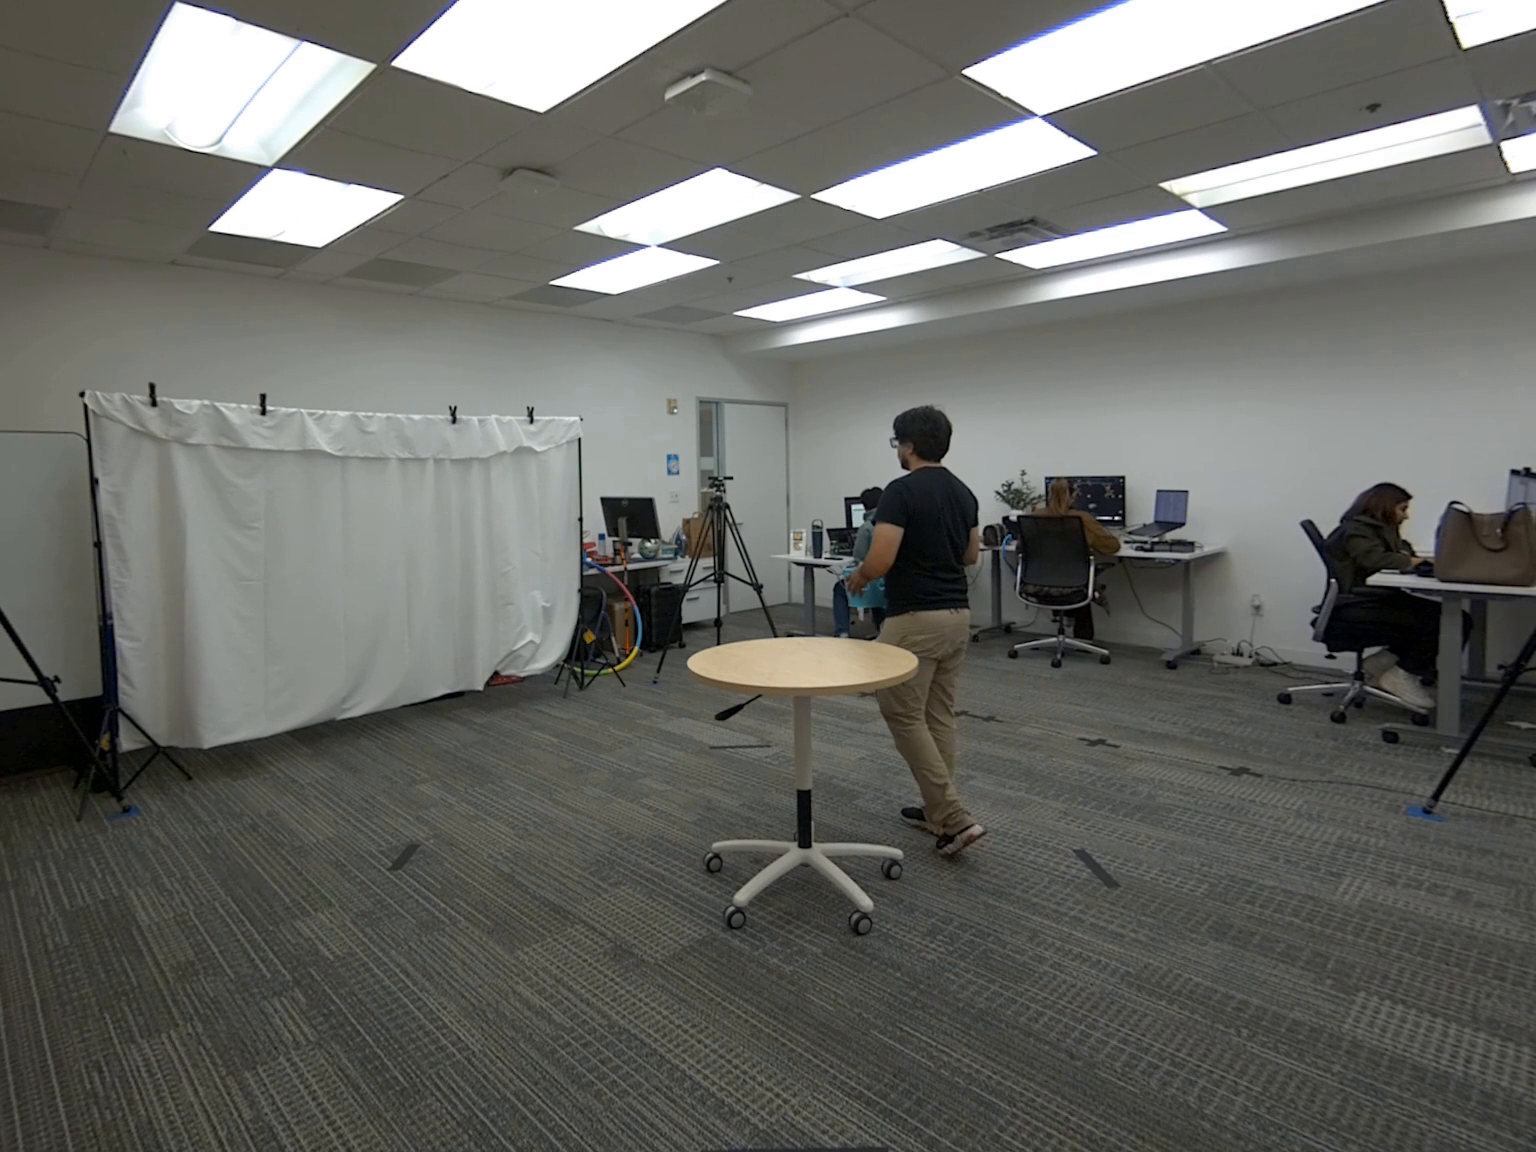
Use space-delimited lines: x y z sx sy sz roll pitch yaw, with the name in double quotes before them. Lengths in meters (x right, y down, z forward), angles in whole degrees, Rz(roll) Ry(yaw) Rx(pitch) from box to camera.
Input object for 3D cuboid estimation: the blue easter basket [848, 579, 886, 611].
"blue easter basket" 0.445 0.047 3.555 0.243 0.155 0.244 0 3 -2
